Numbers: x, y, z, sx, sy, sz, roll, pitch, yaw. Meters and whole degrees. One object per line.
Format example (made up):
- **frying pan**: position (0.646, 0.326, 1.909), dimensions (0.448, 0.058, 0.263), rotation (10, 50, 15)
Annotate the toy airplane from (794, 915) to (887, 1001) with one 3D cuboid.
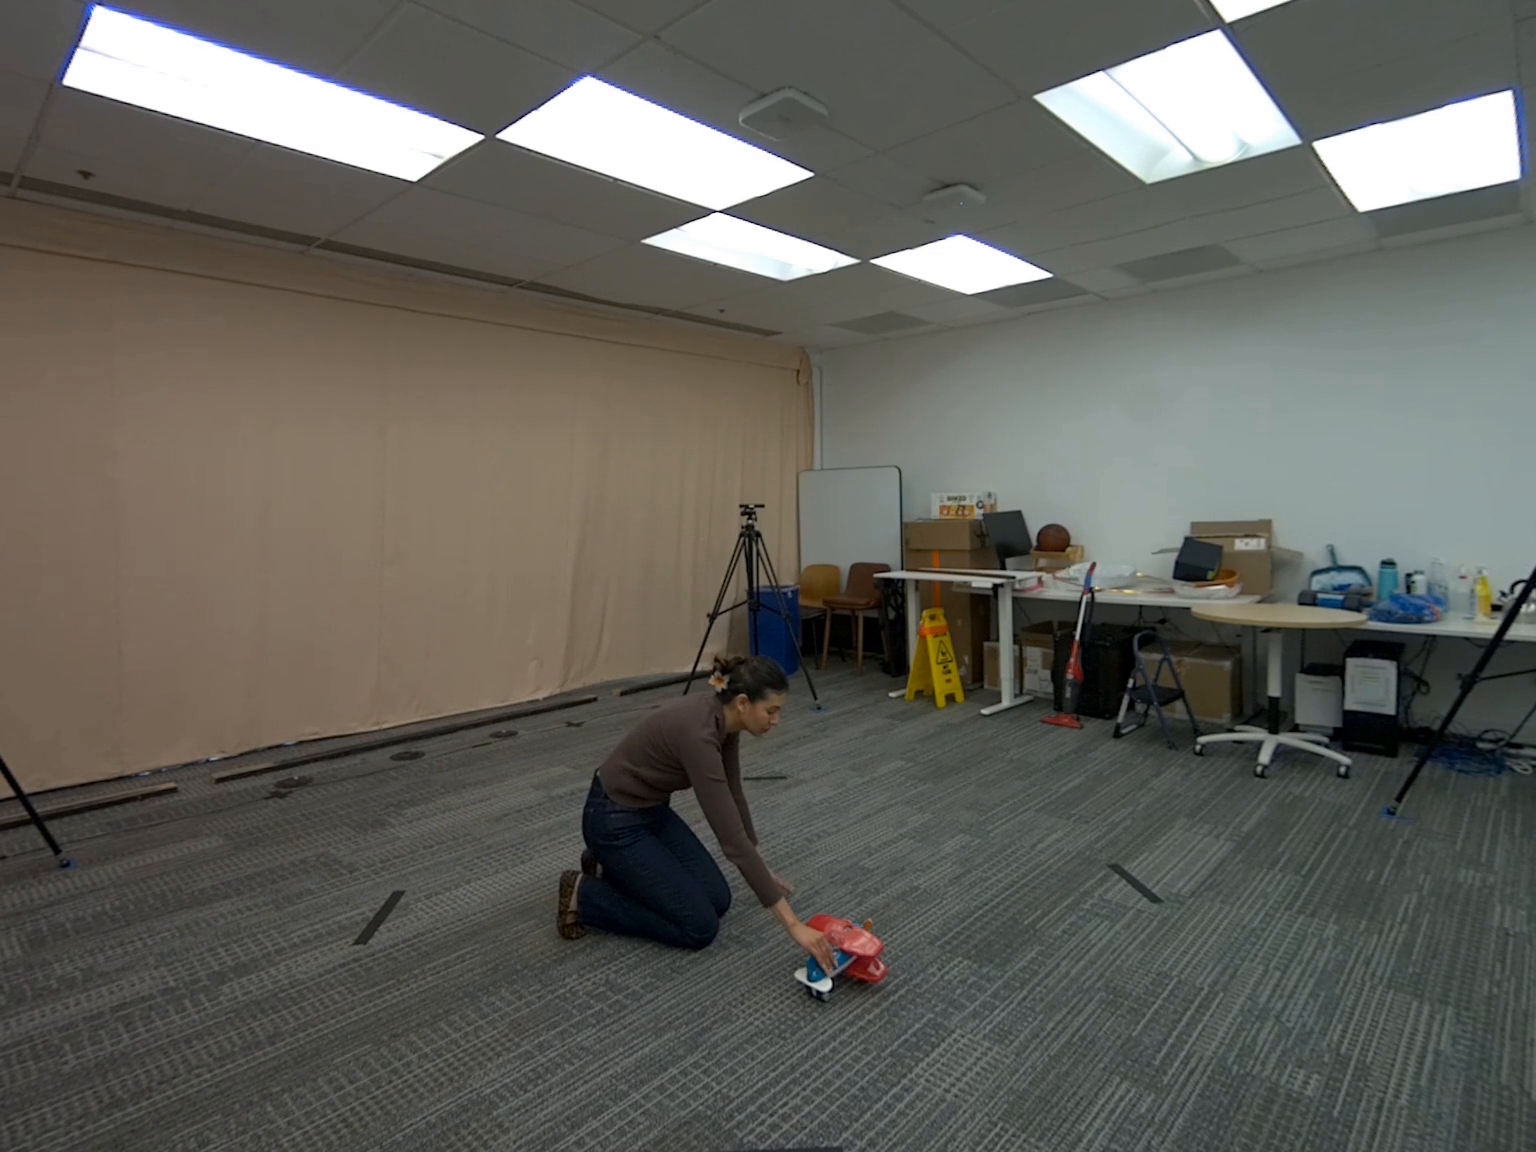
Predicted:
- **toy airplane**: position (0.221, 1.111, 2.421), dimensions (0.256, 0.156, 0.254), rotation (2, 3, 18)
